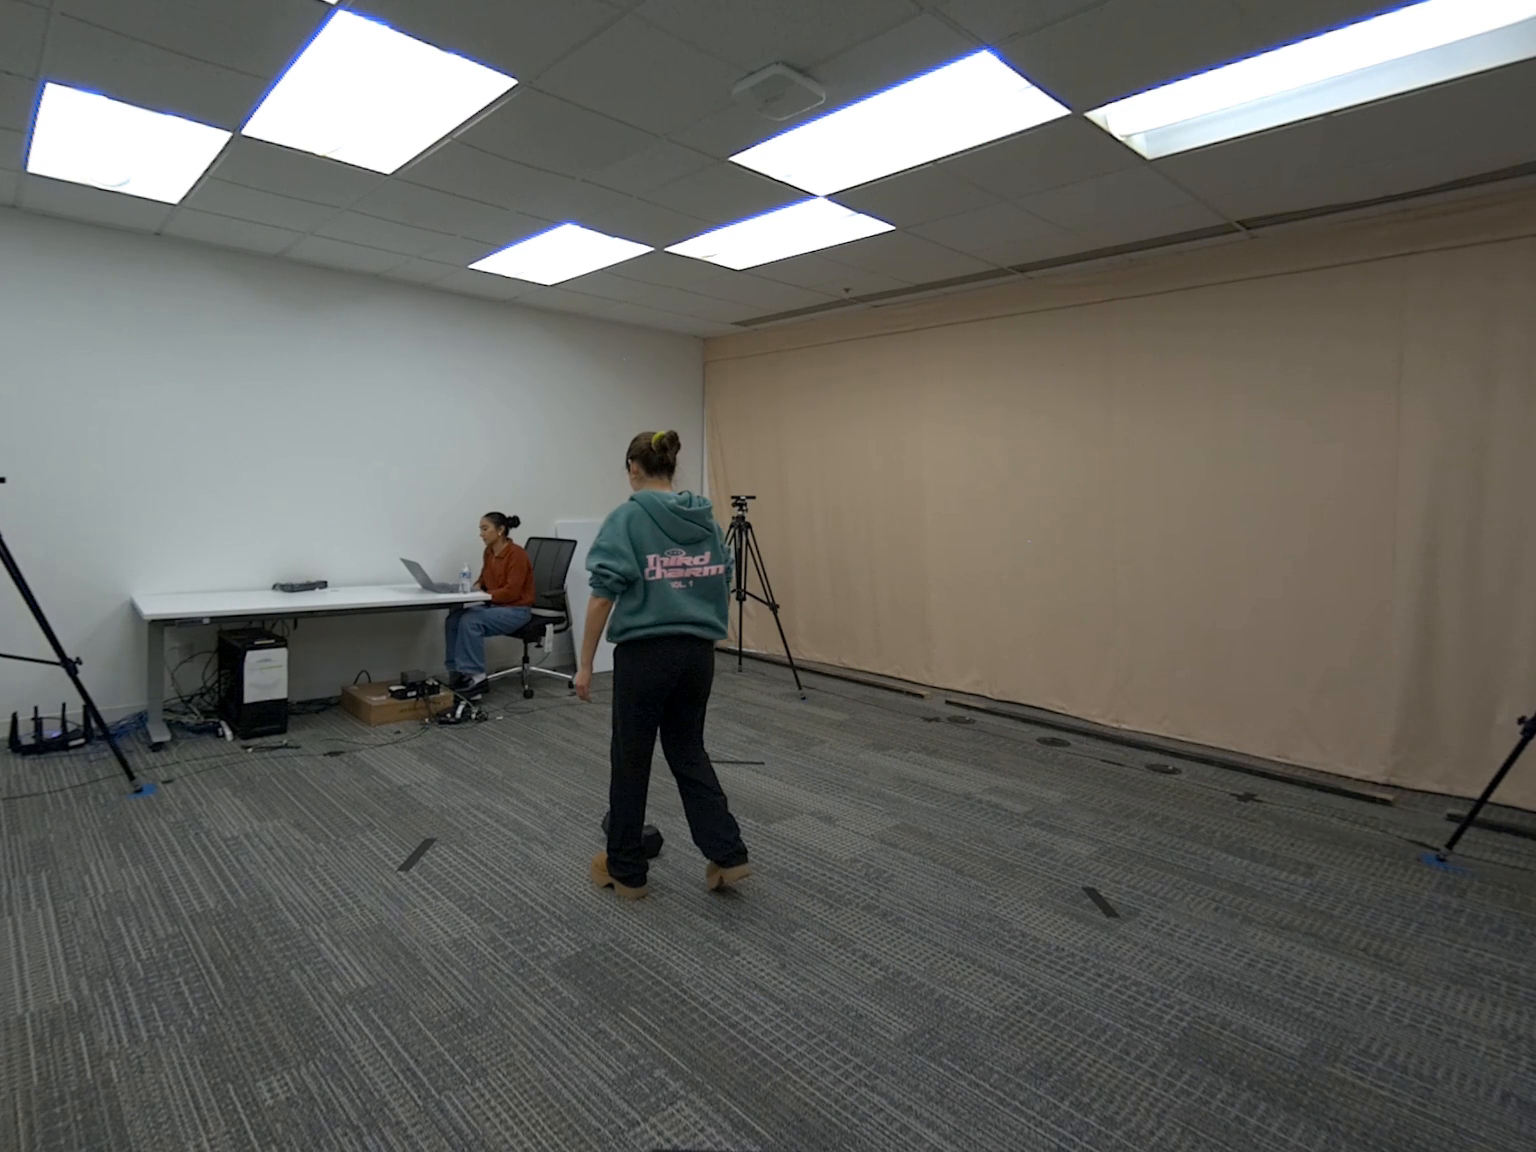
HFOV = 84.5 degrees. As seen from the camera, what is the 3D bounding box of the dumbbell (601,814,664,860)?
[{"bbox_3d":[-0.545,1.020,3.333,0.120,0.108,0.301,-3,8,-41],"label":"dumbbell"}]
